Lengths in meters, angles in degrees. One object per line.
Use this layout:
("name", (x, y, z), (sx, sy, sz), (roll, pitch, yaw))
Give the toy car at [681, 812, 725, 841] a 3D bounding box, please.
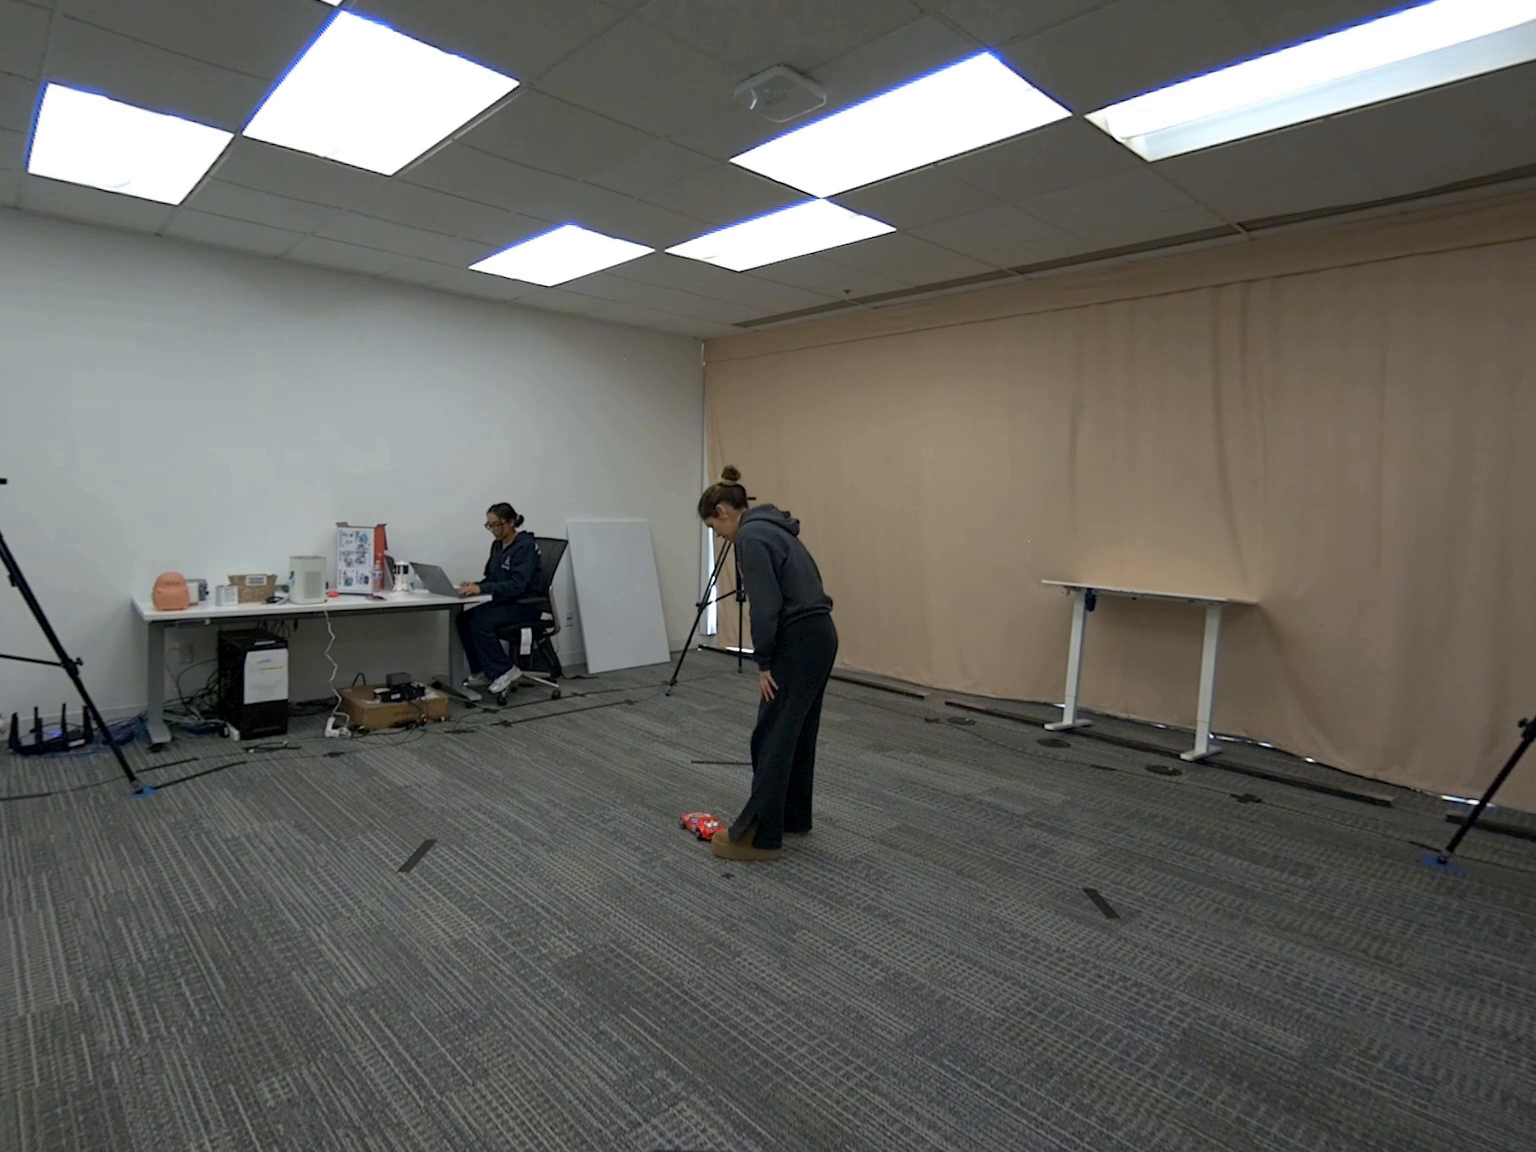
("toy car", (-0.271, 1.030, 3.506), (0.128, 0.083, 0.259), (-3, -4, -32))
